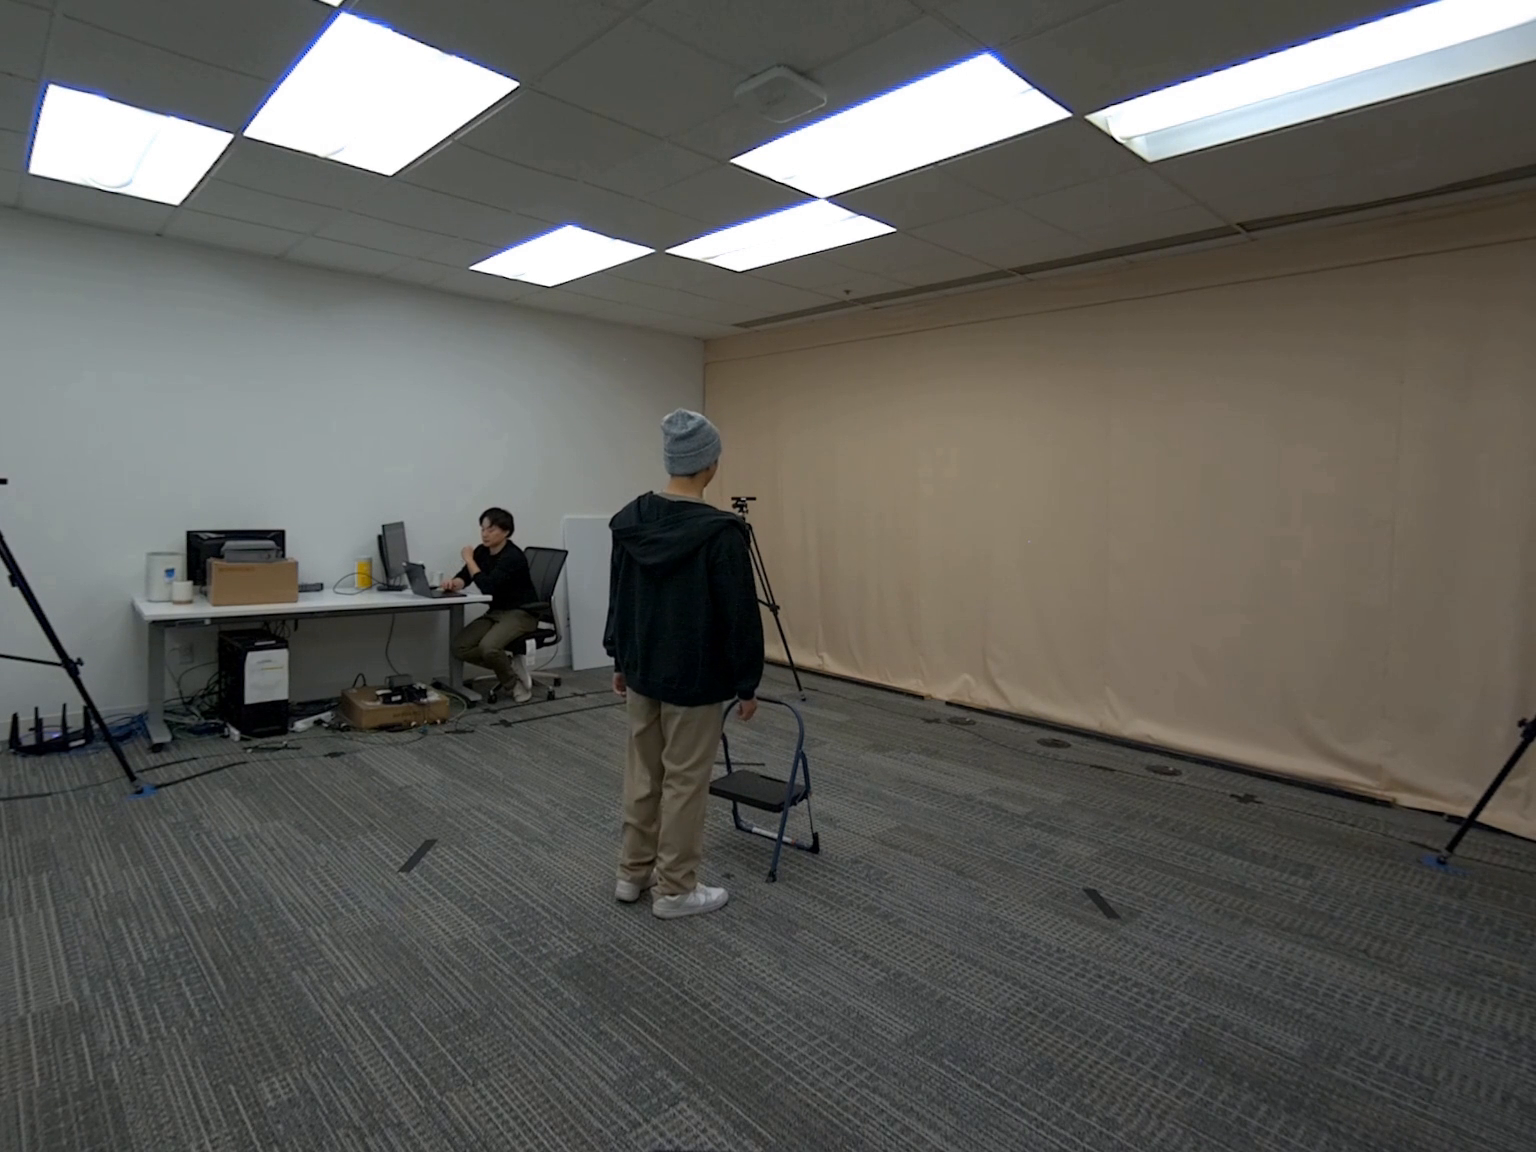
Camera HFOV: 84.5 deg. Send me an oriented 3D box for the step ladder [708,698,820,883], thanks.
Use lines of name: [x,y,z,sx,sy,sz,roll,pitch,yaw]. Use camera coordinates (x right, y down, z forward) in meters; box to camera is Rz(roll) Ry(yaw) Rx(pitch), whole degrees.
step ladder: [-0.055,0.788,3.305,0.441,0.604,0.342,4,4,36]
